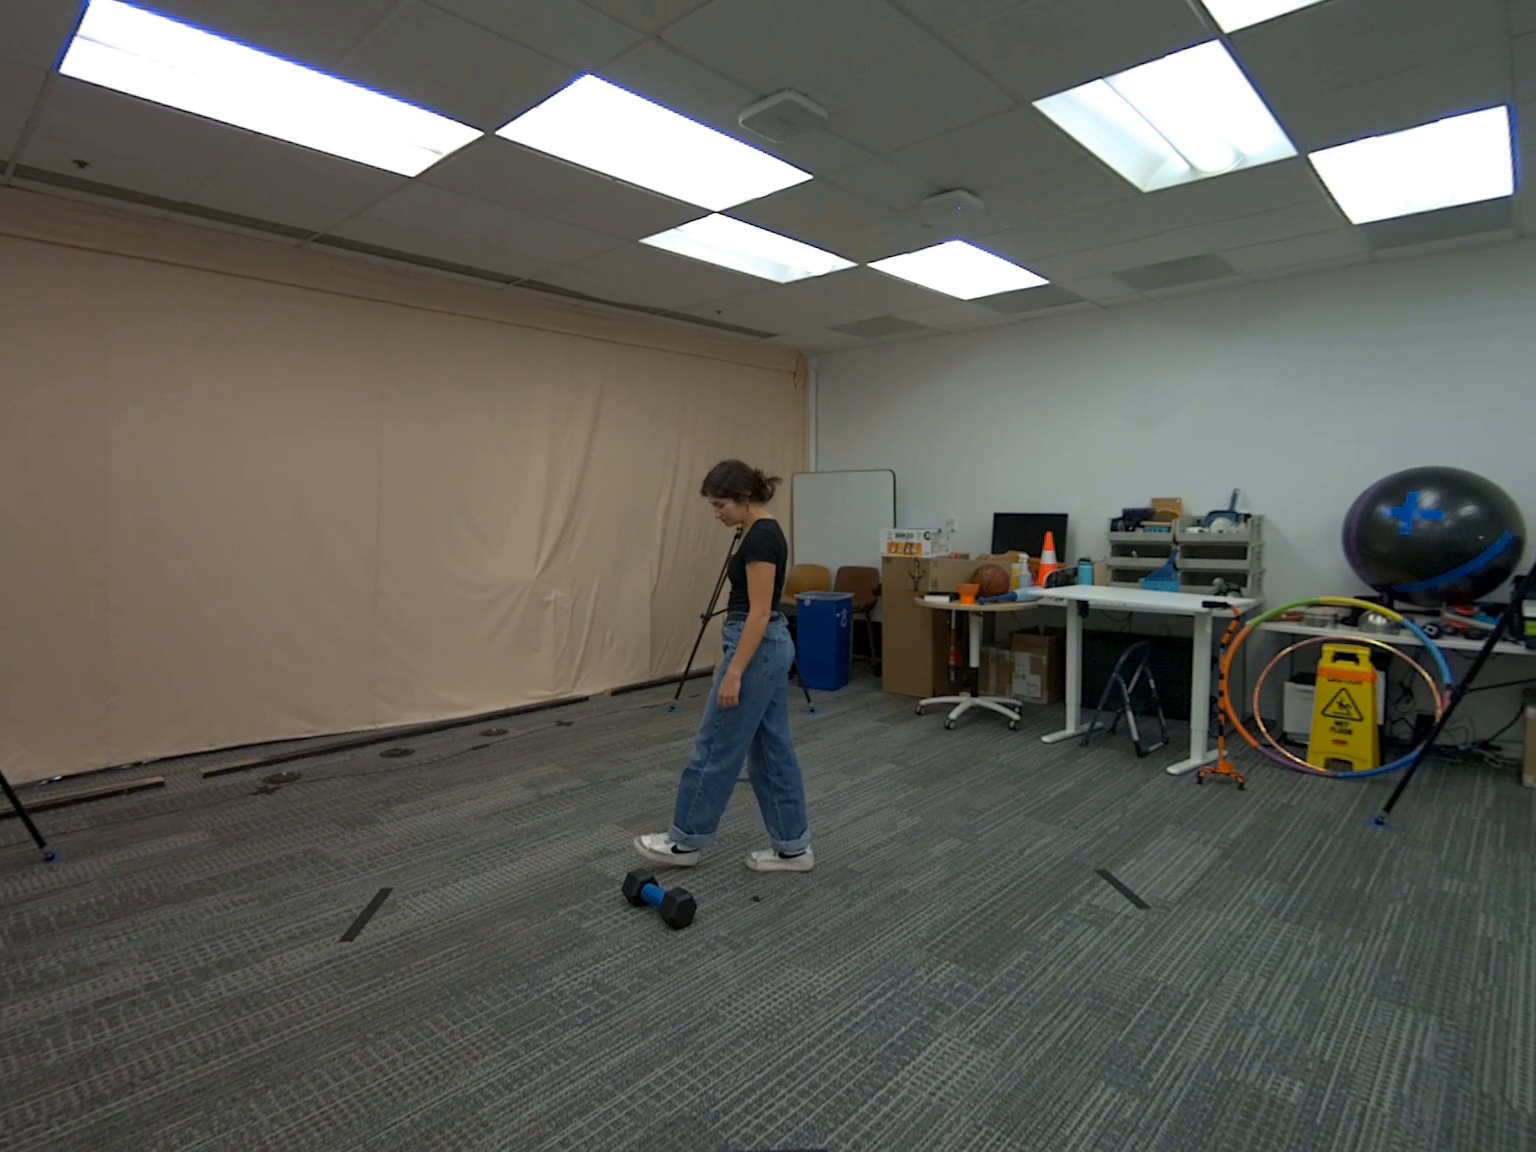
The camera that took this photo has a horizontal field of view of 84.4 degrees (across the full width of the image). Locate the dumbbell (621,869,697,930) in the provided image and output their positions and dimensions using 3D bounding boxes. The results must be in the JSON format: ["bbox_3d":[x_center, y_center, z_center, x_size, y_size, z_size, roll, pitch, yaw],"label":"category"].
[{"bbox_3d":[-0.372,1.099,2.880,0.303,0.120,0.107,5,37,46],"label":"dumbbell"}]
